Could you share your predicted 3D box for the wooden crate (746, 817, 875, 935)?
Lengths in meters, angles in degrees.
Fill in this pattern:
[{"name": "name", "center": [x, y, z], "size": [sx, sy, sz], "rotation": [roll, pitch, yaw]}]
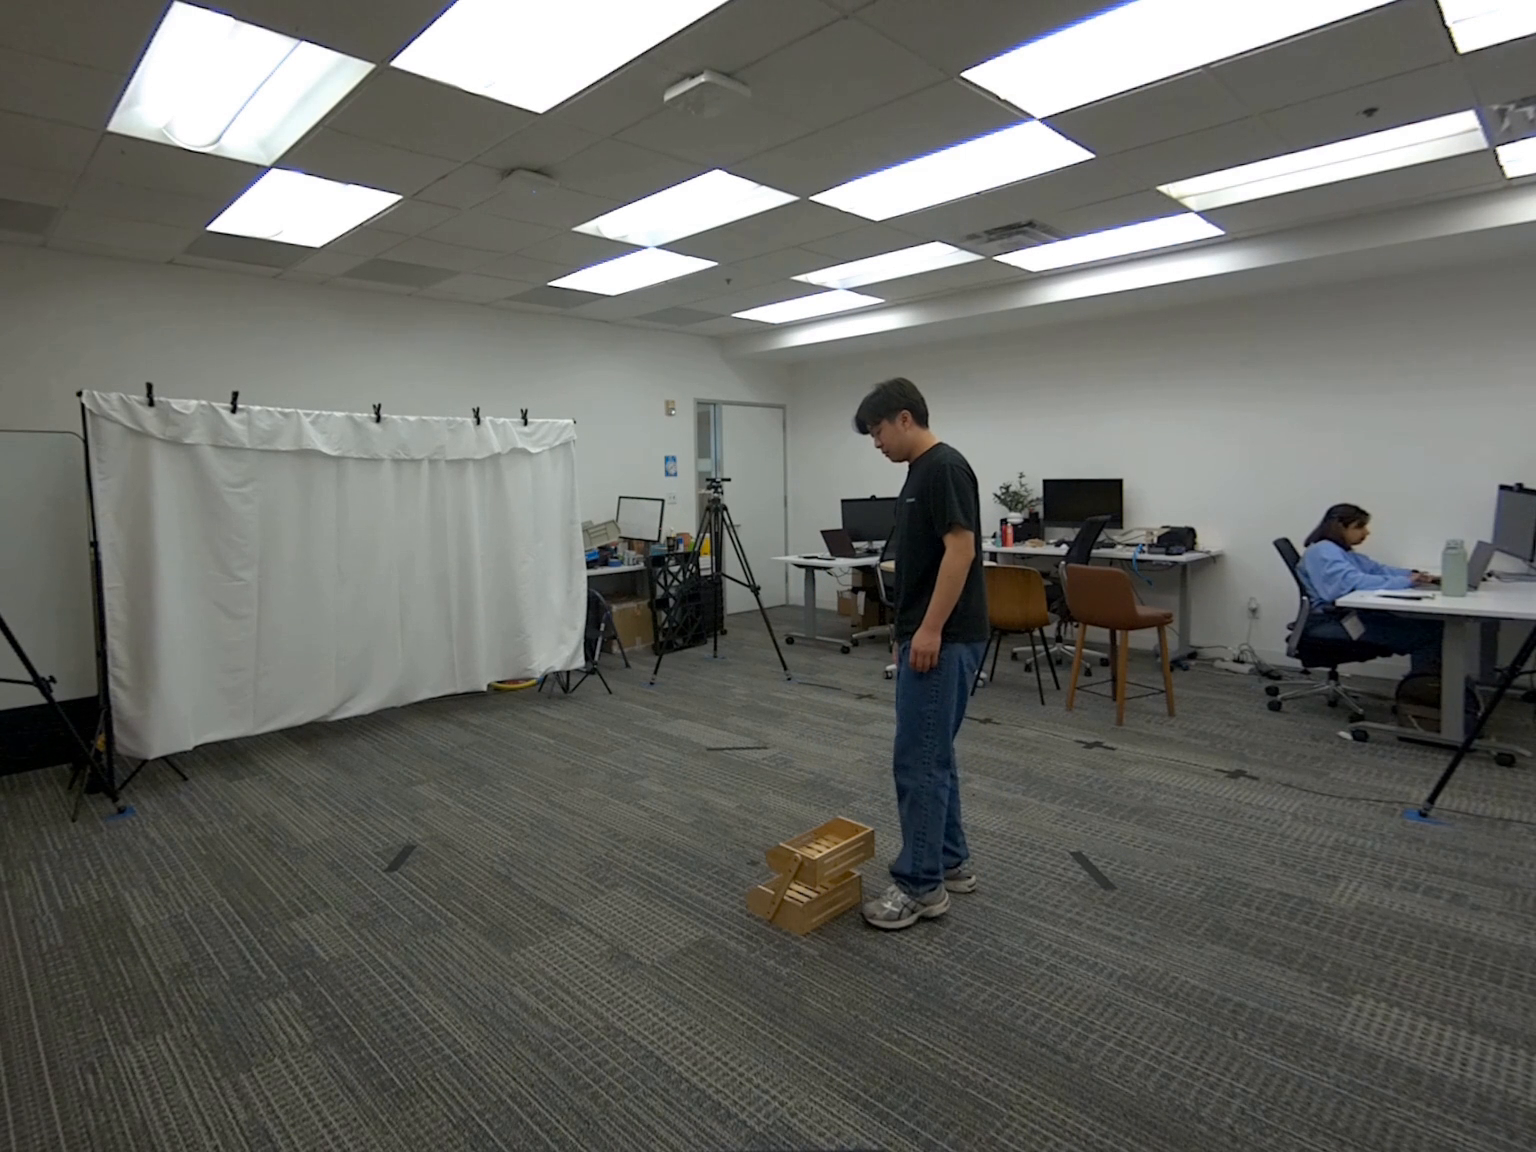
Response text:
[{"name": "wooden crate", "center": [0.139, 0.946, 2.768], "size": [0.311, 0.272, 0.316], "rotation": [5, 8, 44]}]
